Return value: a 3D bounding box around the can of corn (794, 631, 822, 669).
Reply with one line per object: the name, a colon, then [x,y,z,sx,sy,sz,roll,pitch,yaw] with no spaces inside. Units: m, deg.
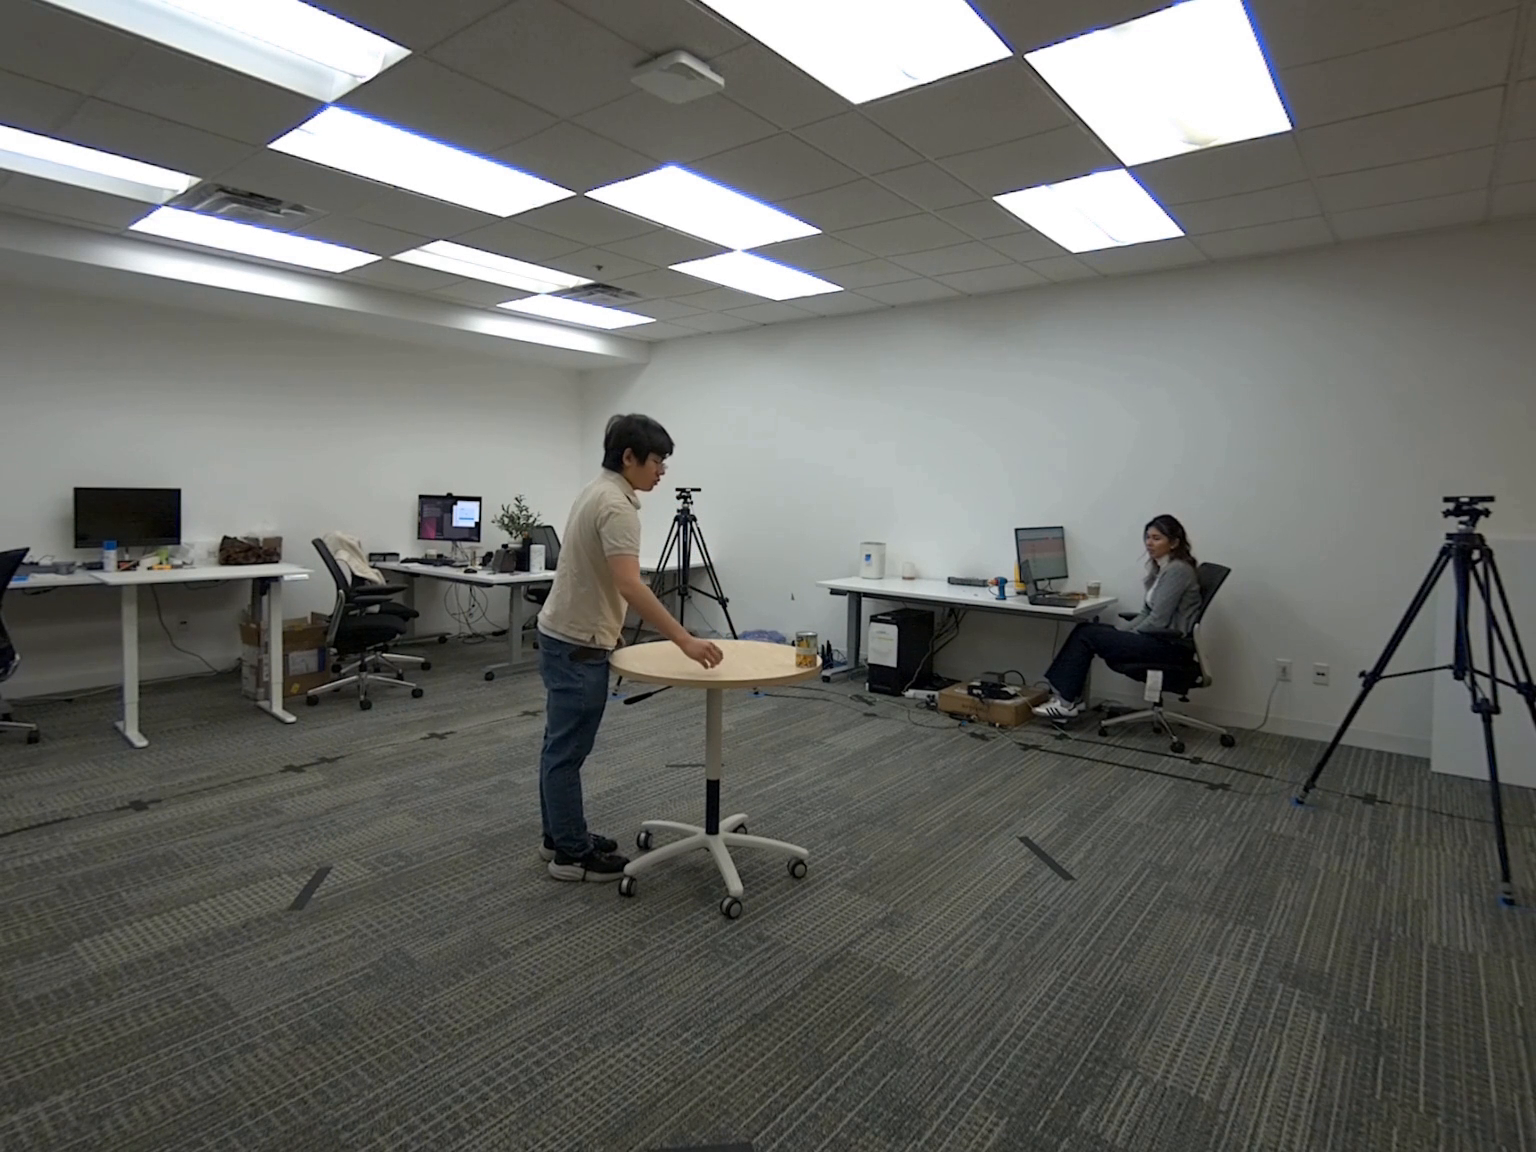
can of corn: [0.125,0.250,2.920,0.074,0.110,0.075,-4,7,-1]
